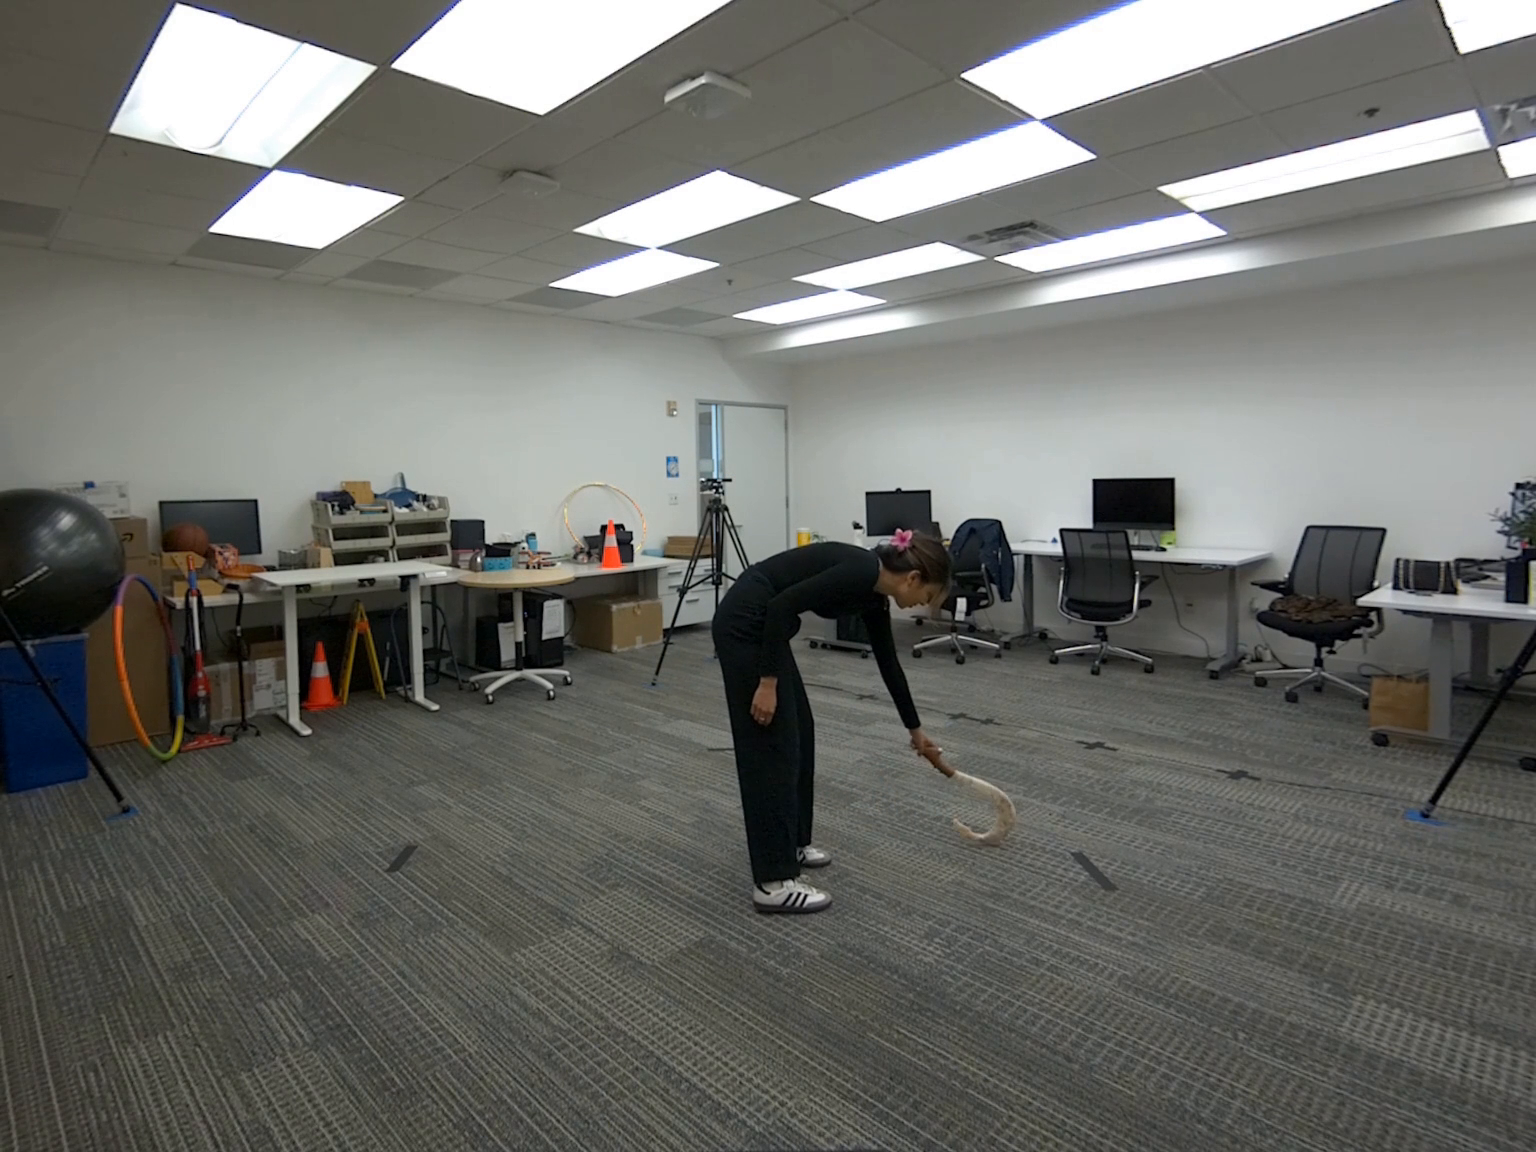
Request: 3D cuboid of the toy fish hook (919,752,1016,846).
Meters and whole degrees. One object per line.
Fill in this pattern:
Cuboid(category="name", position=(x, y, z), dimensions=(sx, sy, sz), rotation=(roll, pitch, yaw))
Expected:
Cuboid(category="toy fish hook", position=(0.700, 0.805, 3.251), dimensions=(0.508, 0.225, 0.048), rotation=(38, -6, 3))
